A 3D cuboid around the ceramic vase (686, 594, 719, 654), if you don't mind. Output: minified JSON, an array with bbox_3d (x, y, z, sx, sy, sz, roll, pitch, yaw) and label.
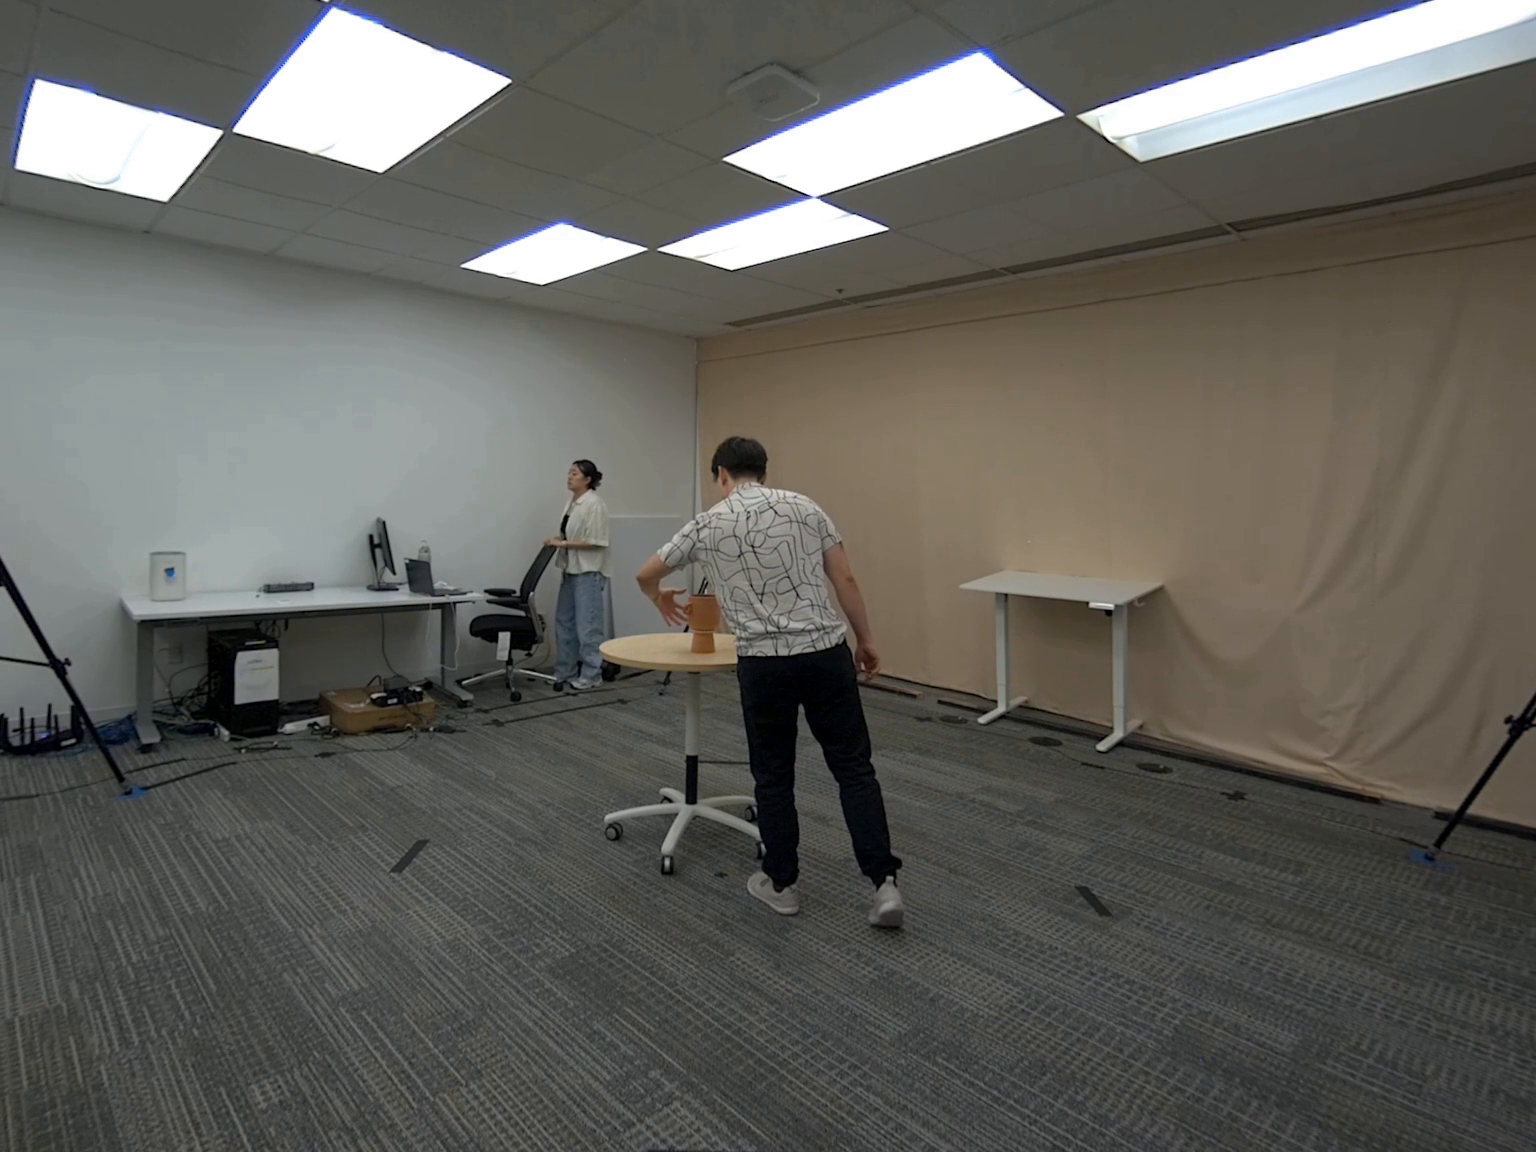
[{"bbox_3d":[-0.262,0.187,3.309,0.158,0.219,0.135,0,5,-2],"label":"ceramic vase"}]
